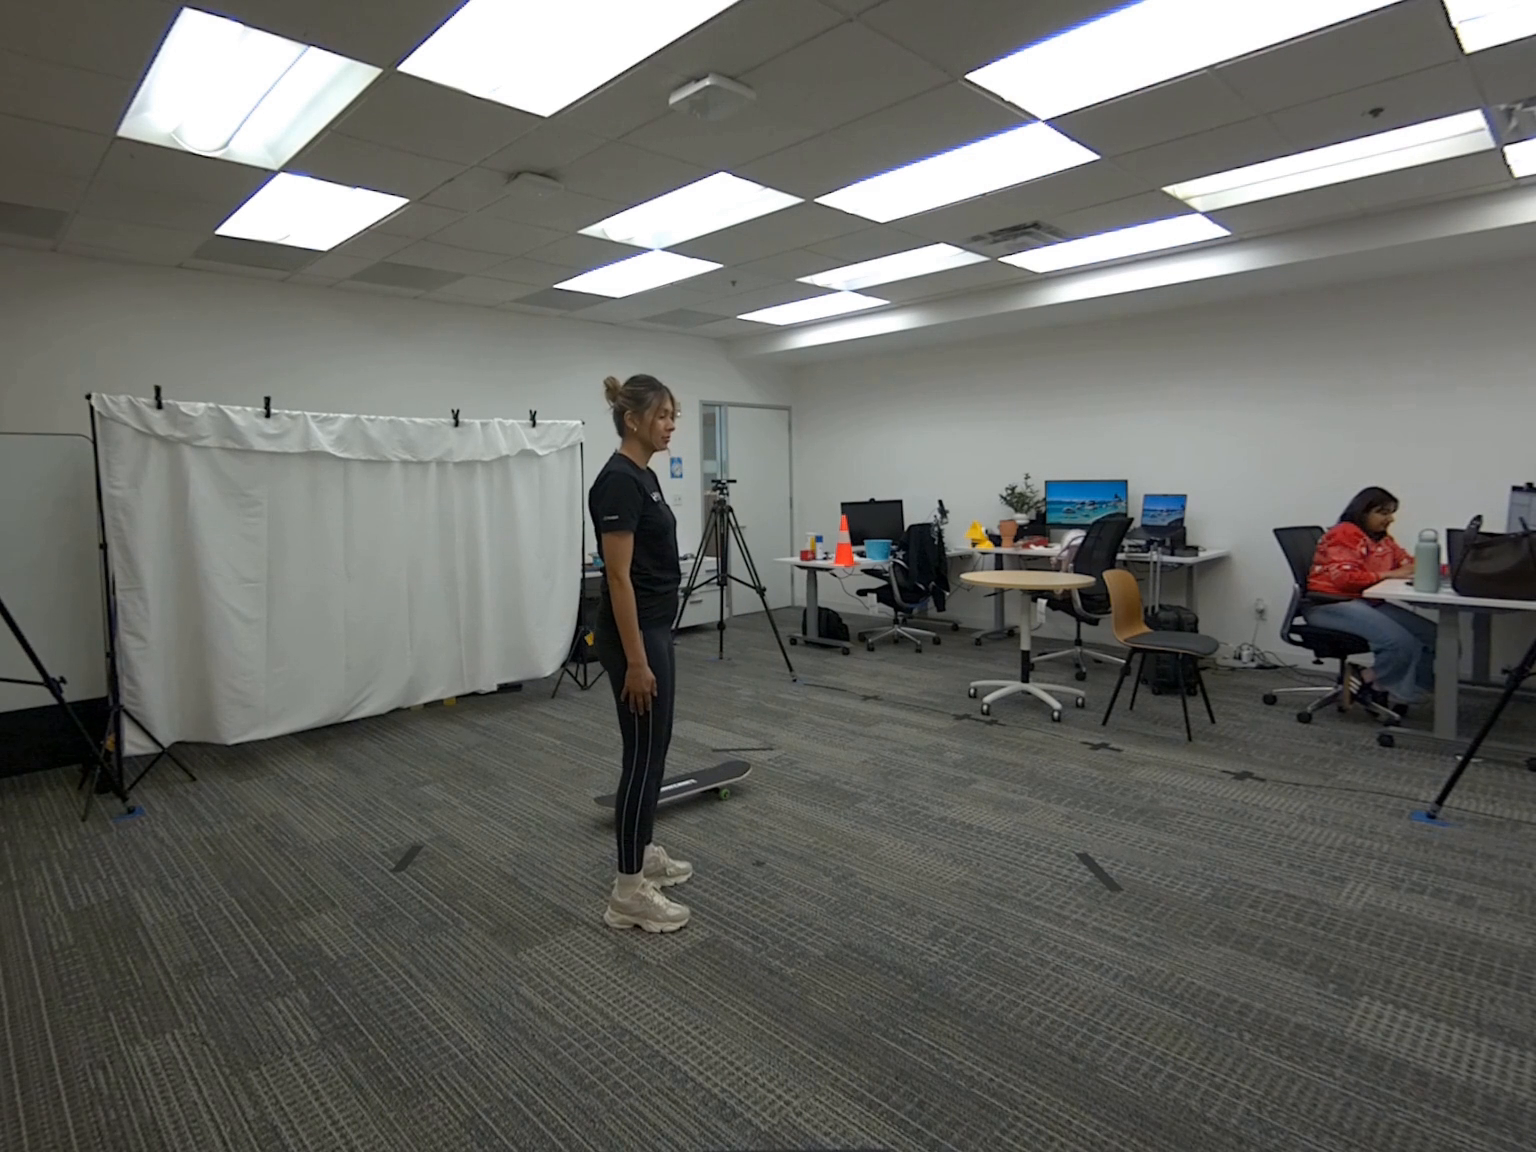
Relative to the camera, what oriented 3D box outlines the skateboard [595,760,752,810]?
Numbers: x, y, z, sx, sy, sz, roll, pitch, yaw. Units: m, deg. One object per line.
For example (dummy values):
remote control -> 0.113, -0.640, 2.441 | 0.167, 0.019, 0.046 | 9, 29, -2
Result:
skateboard -> -0.394, 0.933, 3.677 | 0.765, 0.110, 0.199 | -6, 8, -39
